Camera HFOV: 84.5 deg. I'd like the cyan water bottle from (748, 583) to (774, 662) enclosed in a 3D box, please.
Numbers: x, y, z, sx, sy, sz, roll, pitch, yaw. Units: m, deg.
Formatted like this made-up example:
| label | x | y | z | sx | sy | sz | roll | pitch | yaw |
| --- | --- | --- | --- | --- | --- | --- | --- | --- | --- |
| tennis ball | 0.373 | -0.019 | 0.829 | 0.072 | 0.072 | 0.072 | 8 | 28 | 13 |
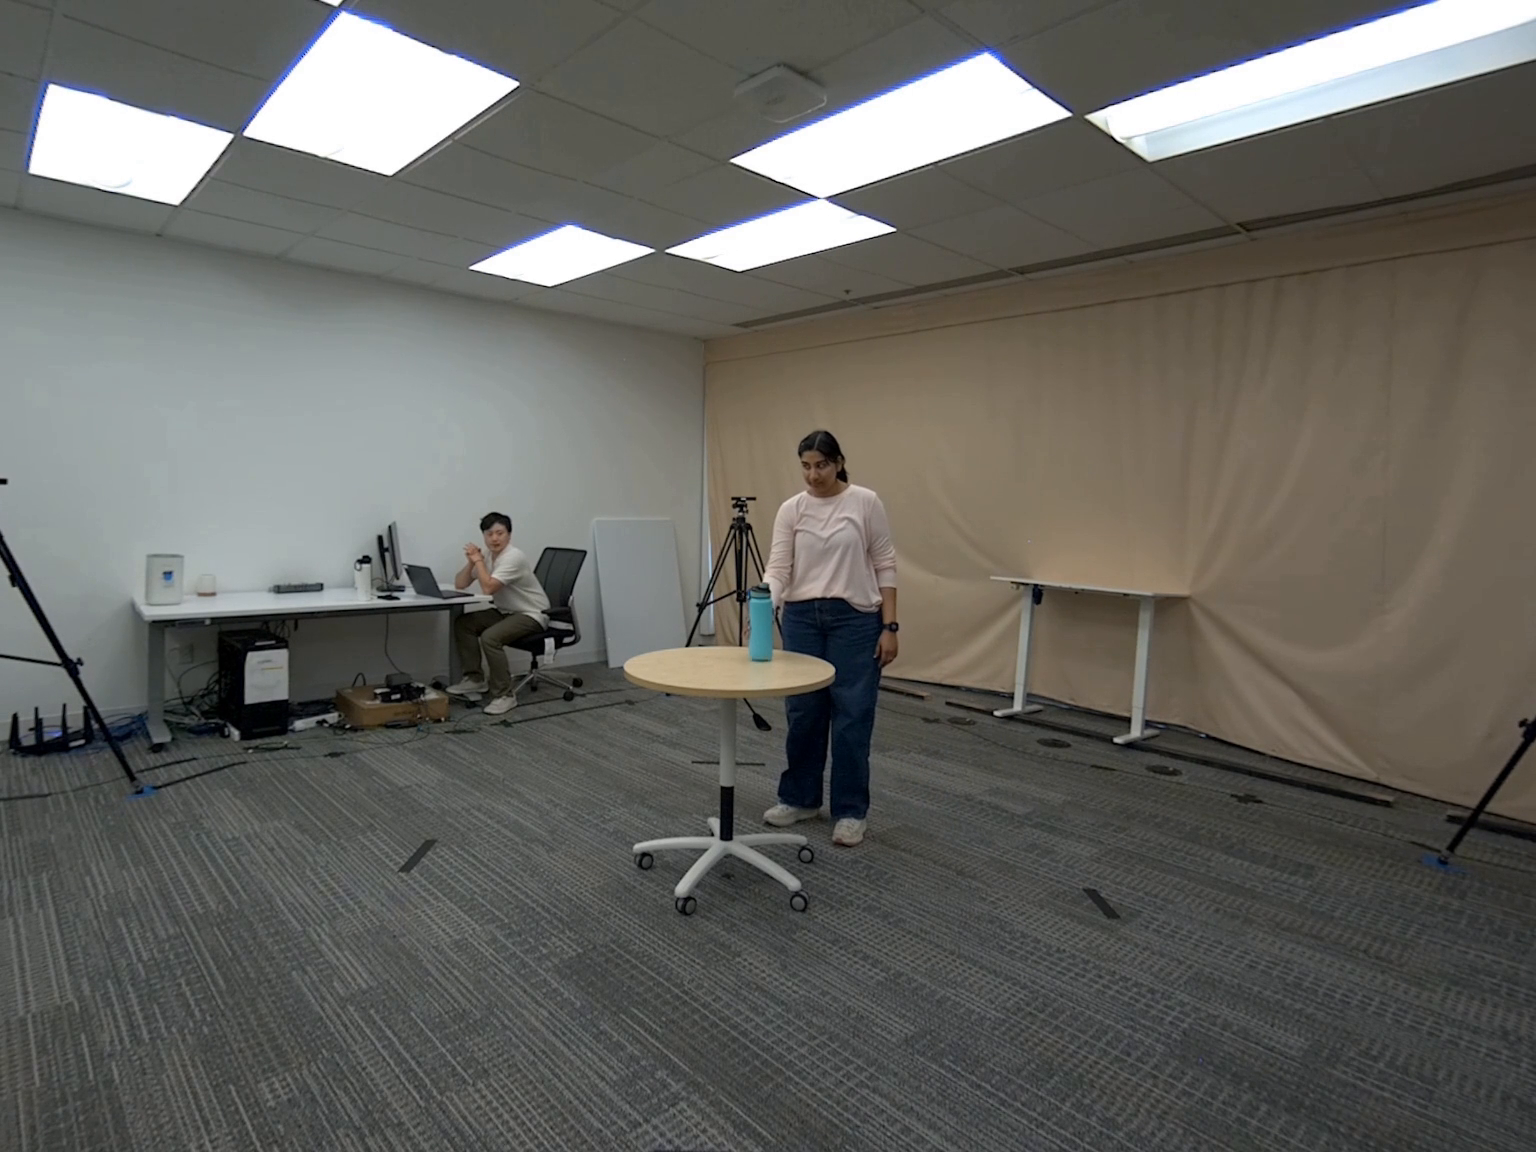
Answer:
| label | x | y | z | sx | sy | sz | roll | pitch | yaw |
| --- | --- | --- | --- | --- | --- | --- | --- | --- | --- |
| cyan water bottle | -0.033 | 0.159 | 3.168 | 0.092 | 0.282 | 0.093 | -2 | 4 | -1 |
